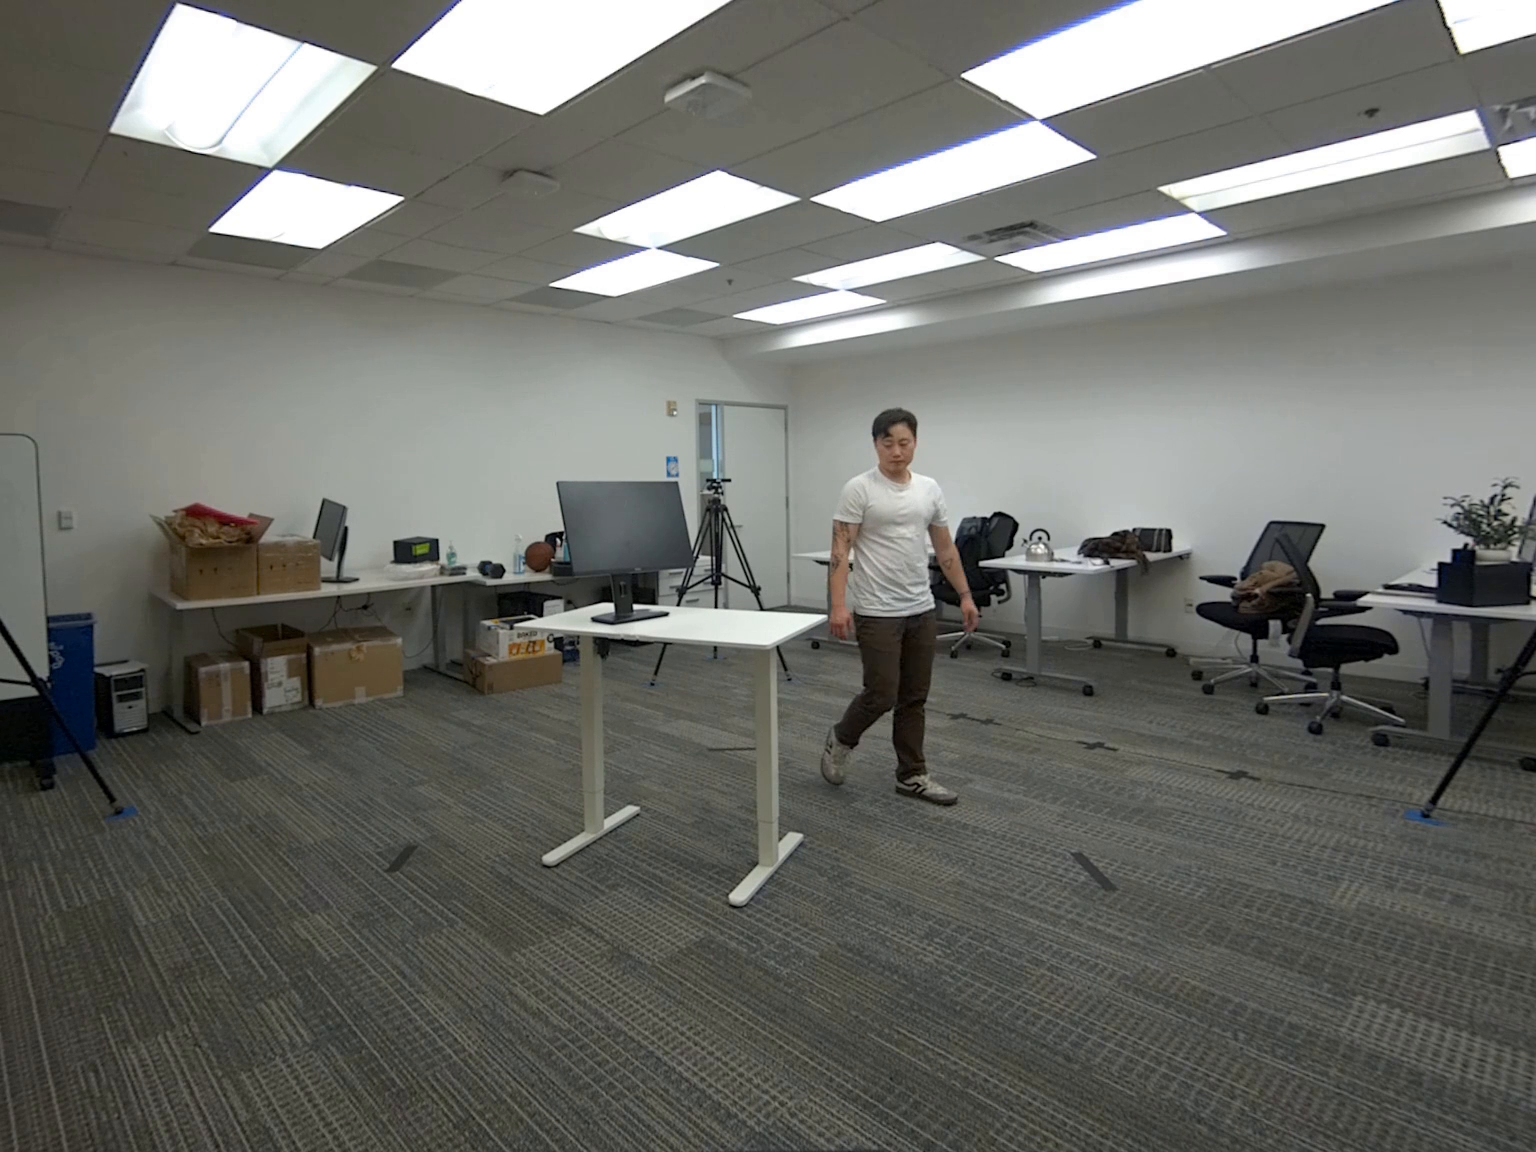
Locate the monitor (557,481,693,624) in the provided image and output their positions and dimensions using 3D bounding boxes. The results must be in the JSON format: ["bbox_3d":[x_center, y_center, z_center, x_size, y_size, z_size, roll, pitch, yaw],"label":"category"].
[{"bbox_3d":[-0.534,-0.094,3.210,0.524,0.522,0.192,-4,1,-43],"label":"monitor"}]
